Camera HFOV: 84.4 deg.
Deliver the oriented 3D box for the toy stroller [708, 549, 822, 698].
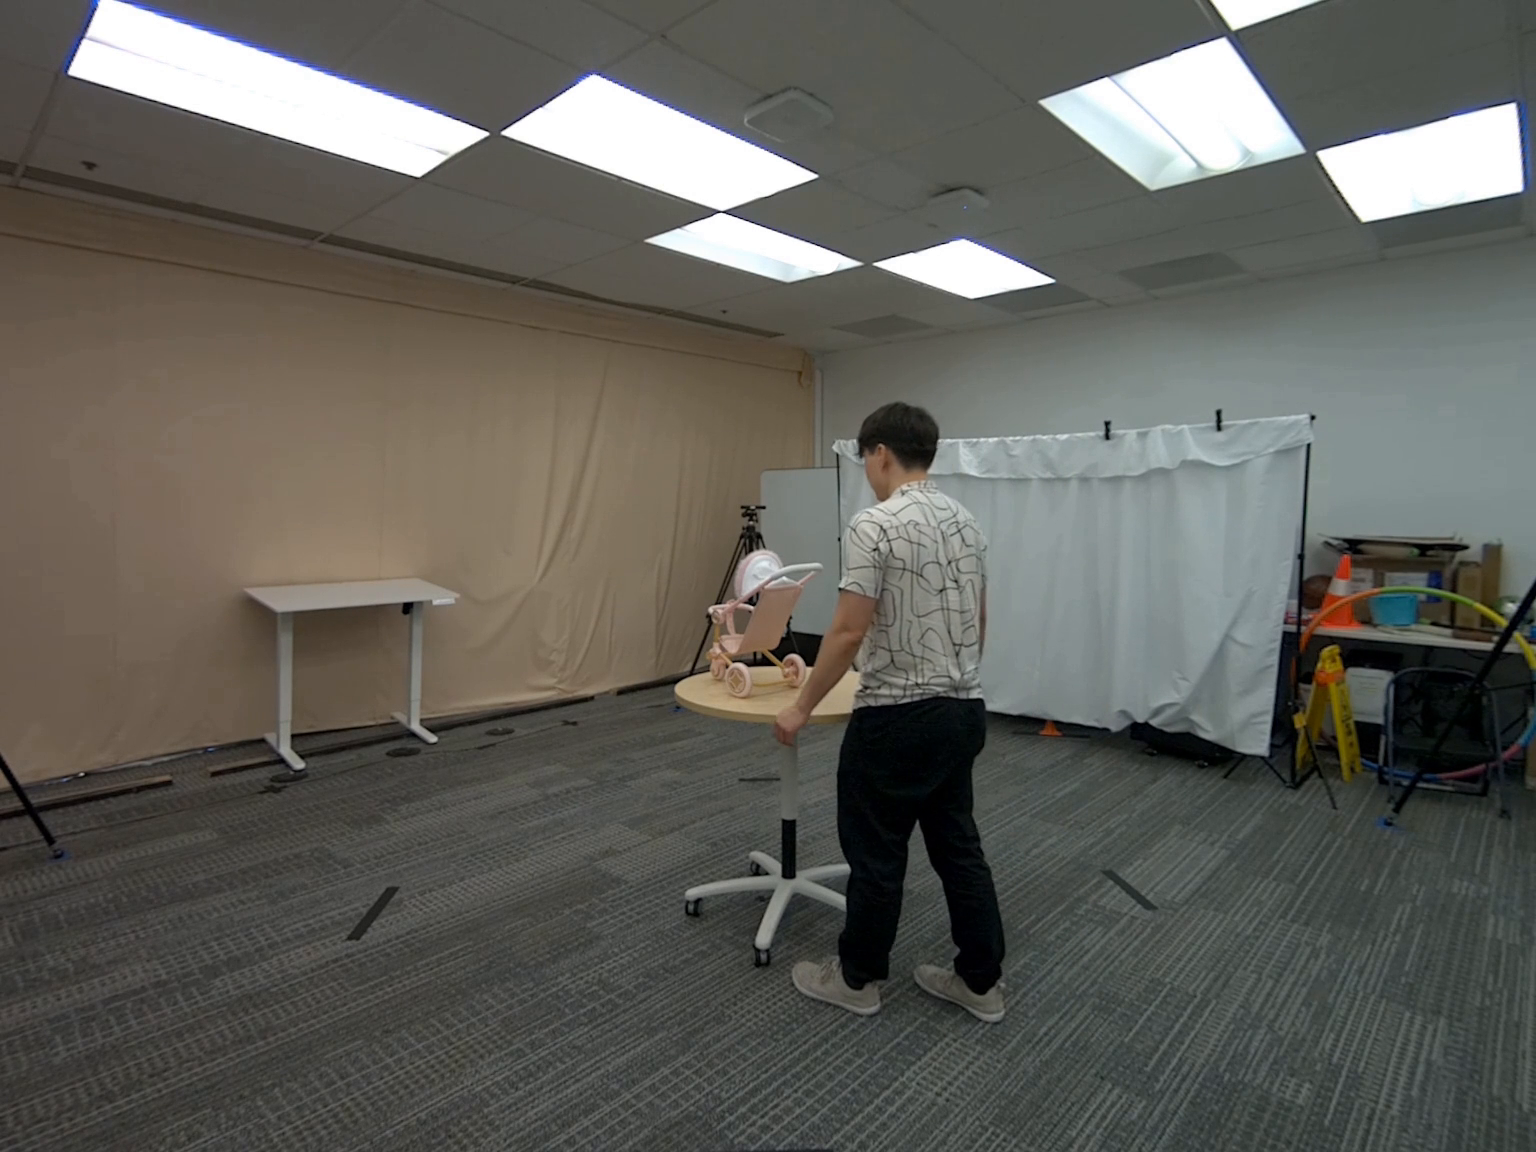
[{"bbox_3d":[-0.038,0.154,2.783,0.273,0.531,0.354,-2,21,-39],"label":"toy stroller"}]
